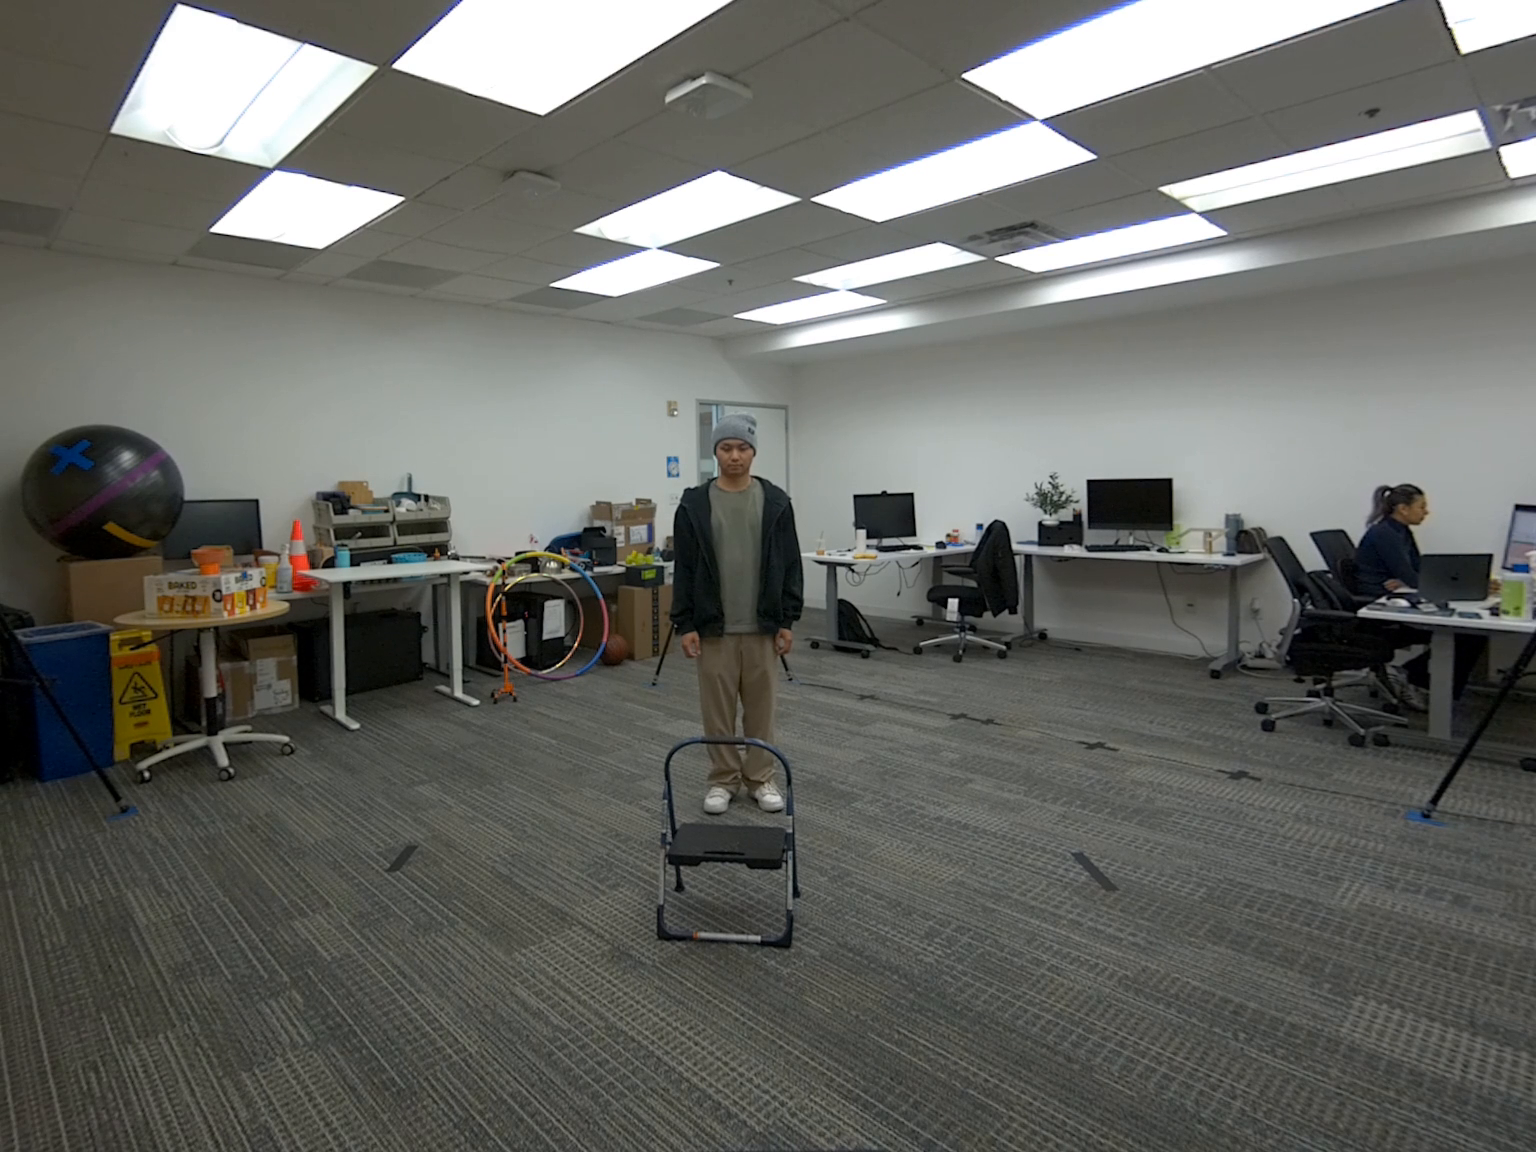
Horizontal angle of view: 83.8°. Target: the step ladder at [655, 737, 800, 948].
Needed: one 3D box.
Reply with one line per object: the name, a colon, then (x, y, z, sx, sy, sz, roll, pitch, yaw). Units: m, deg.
step ladder: (-0.125, 0.793, 2.718, 0.434, 0.604, 0.348, 0, 4, 6)
